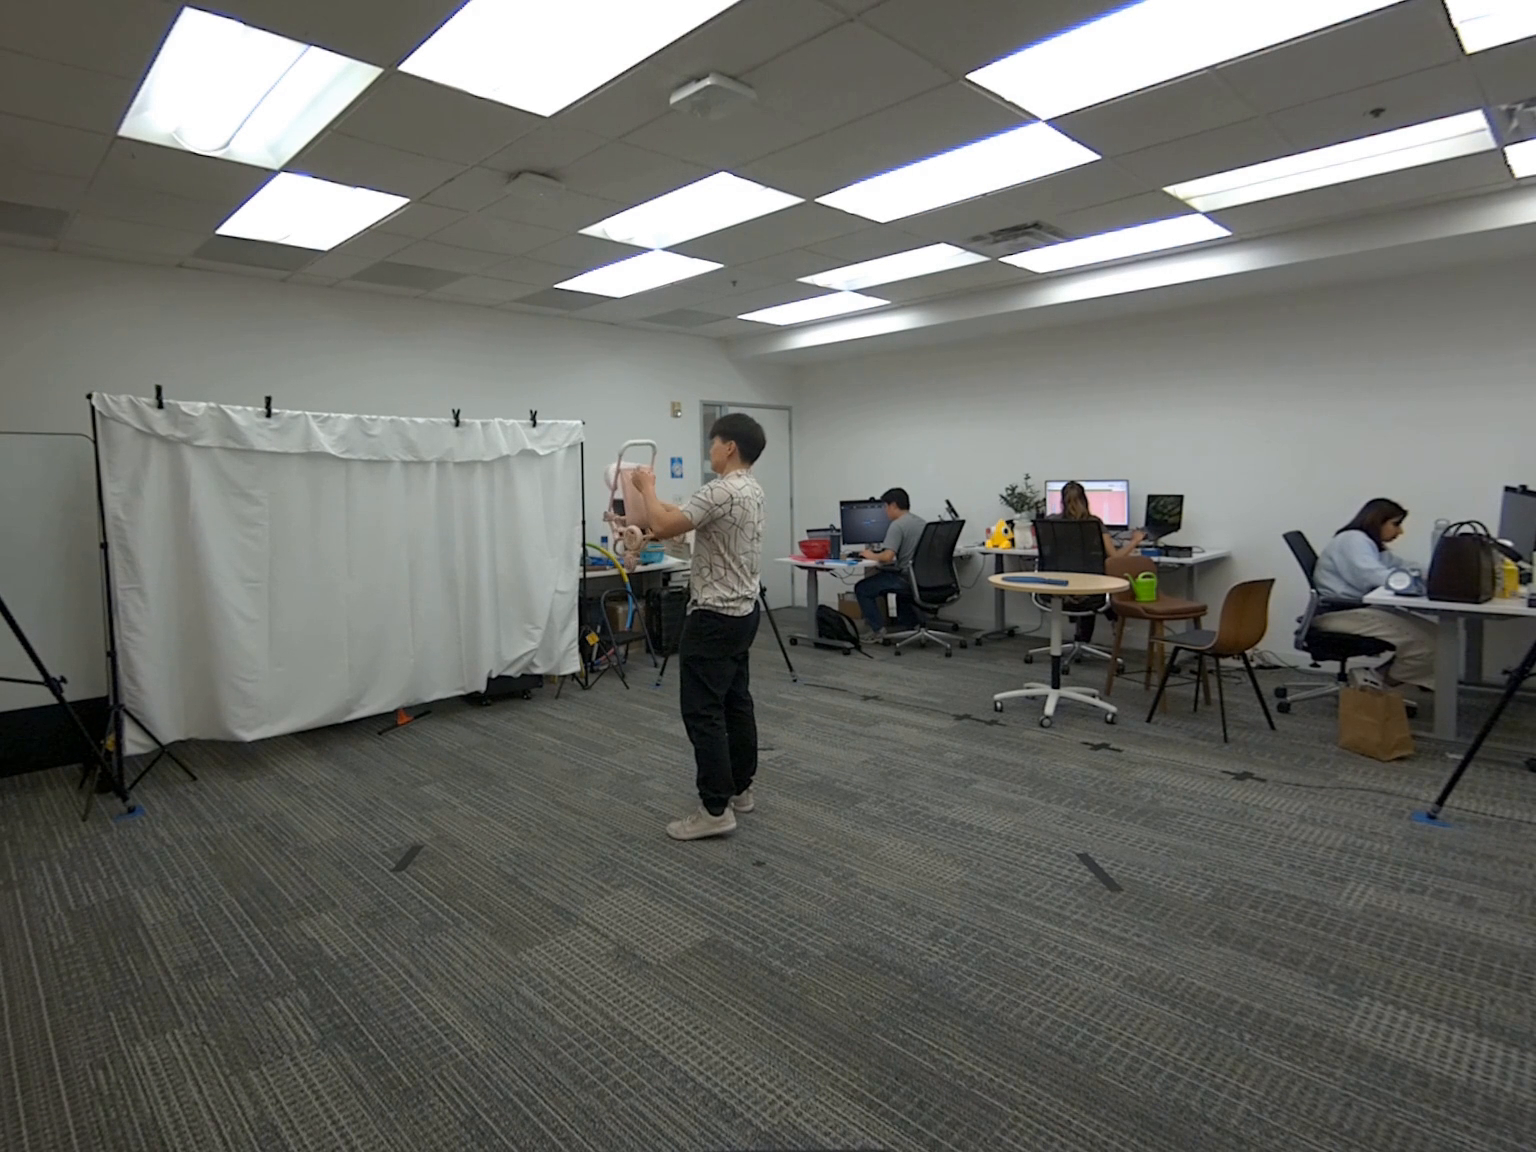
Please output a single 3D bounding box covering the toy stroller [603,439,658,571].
[{"bbox_3d":[-0.597,-0.304,3.846,0.275,0.539,0.347,-10,-8,-40],"label":"toy stroller"}]
